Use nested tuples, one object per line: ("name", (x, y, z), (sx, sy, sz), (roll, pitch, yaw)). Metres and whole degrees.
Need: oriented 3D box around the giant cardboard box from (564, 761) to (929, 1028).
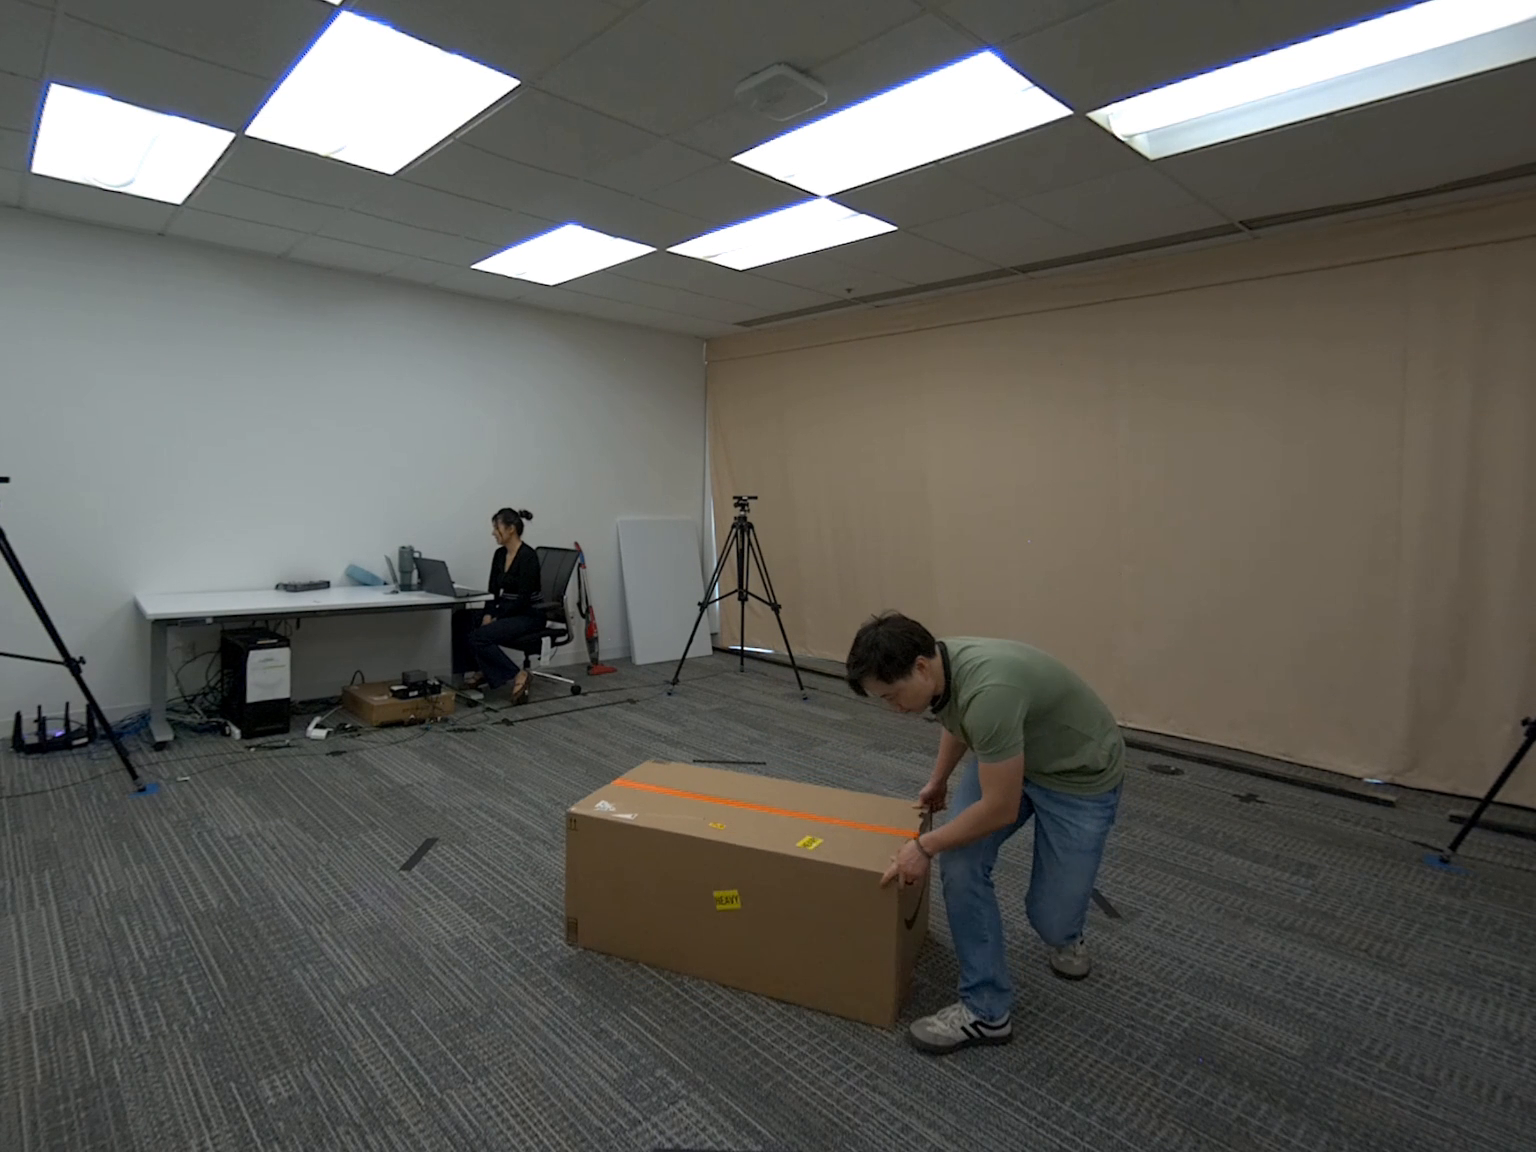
("giant cardboard box", (-0.057, 0.933, 2.654), (1.044, 0.425, 0.569), (4, 6, 22))
